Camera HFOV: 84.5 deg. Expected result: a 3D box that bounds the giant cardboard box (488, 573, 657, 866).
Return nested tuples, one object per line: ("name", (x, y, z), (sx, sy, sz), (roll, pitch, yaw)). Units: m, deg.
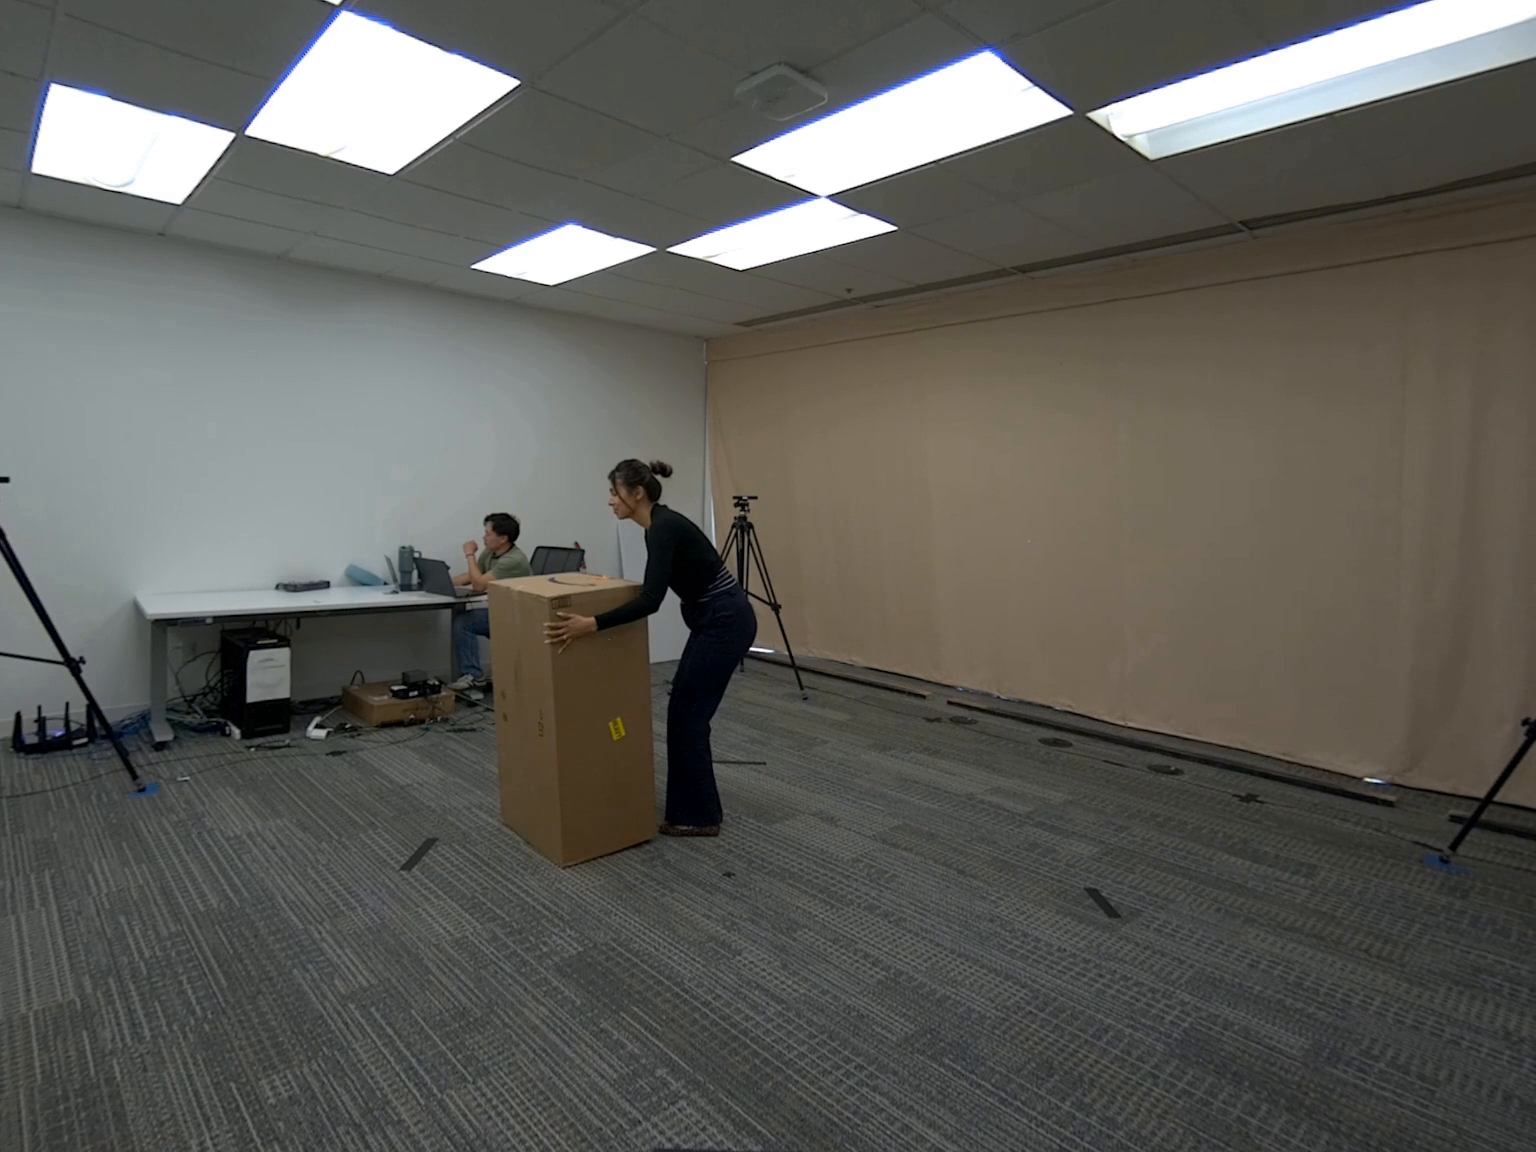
("giant cardboard box", (-0.808, 0.542, 3.424), (0.417, 1.021, 0.592), (-6, 7, -39))
